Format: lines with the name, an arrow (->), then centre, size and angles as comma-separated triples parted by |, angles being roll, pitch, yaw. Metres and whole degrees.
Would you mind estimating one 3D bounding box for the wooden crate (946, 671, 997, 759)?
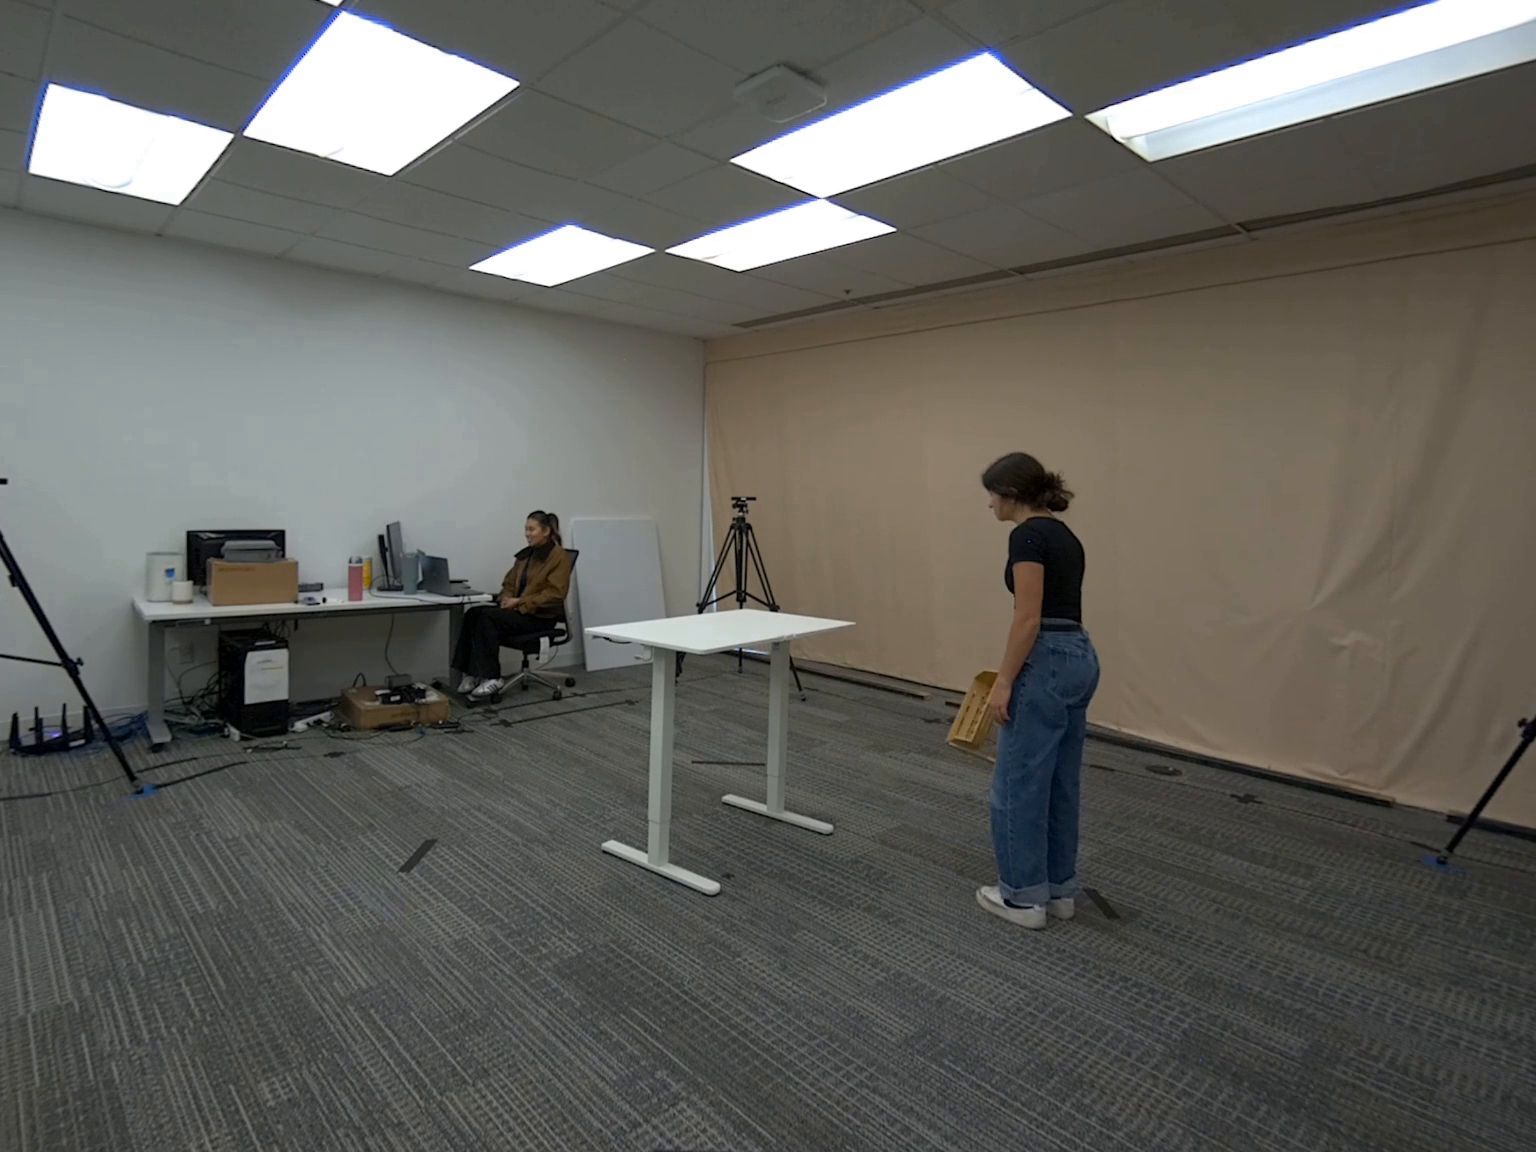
wooden crate -> 0.876, 0.539, 3.181 | 0.275, 0.326, 0.299 | 27, -19, 5
